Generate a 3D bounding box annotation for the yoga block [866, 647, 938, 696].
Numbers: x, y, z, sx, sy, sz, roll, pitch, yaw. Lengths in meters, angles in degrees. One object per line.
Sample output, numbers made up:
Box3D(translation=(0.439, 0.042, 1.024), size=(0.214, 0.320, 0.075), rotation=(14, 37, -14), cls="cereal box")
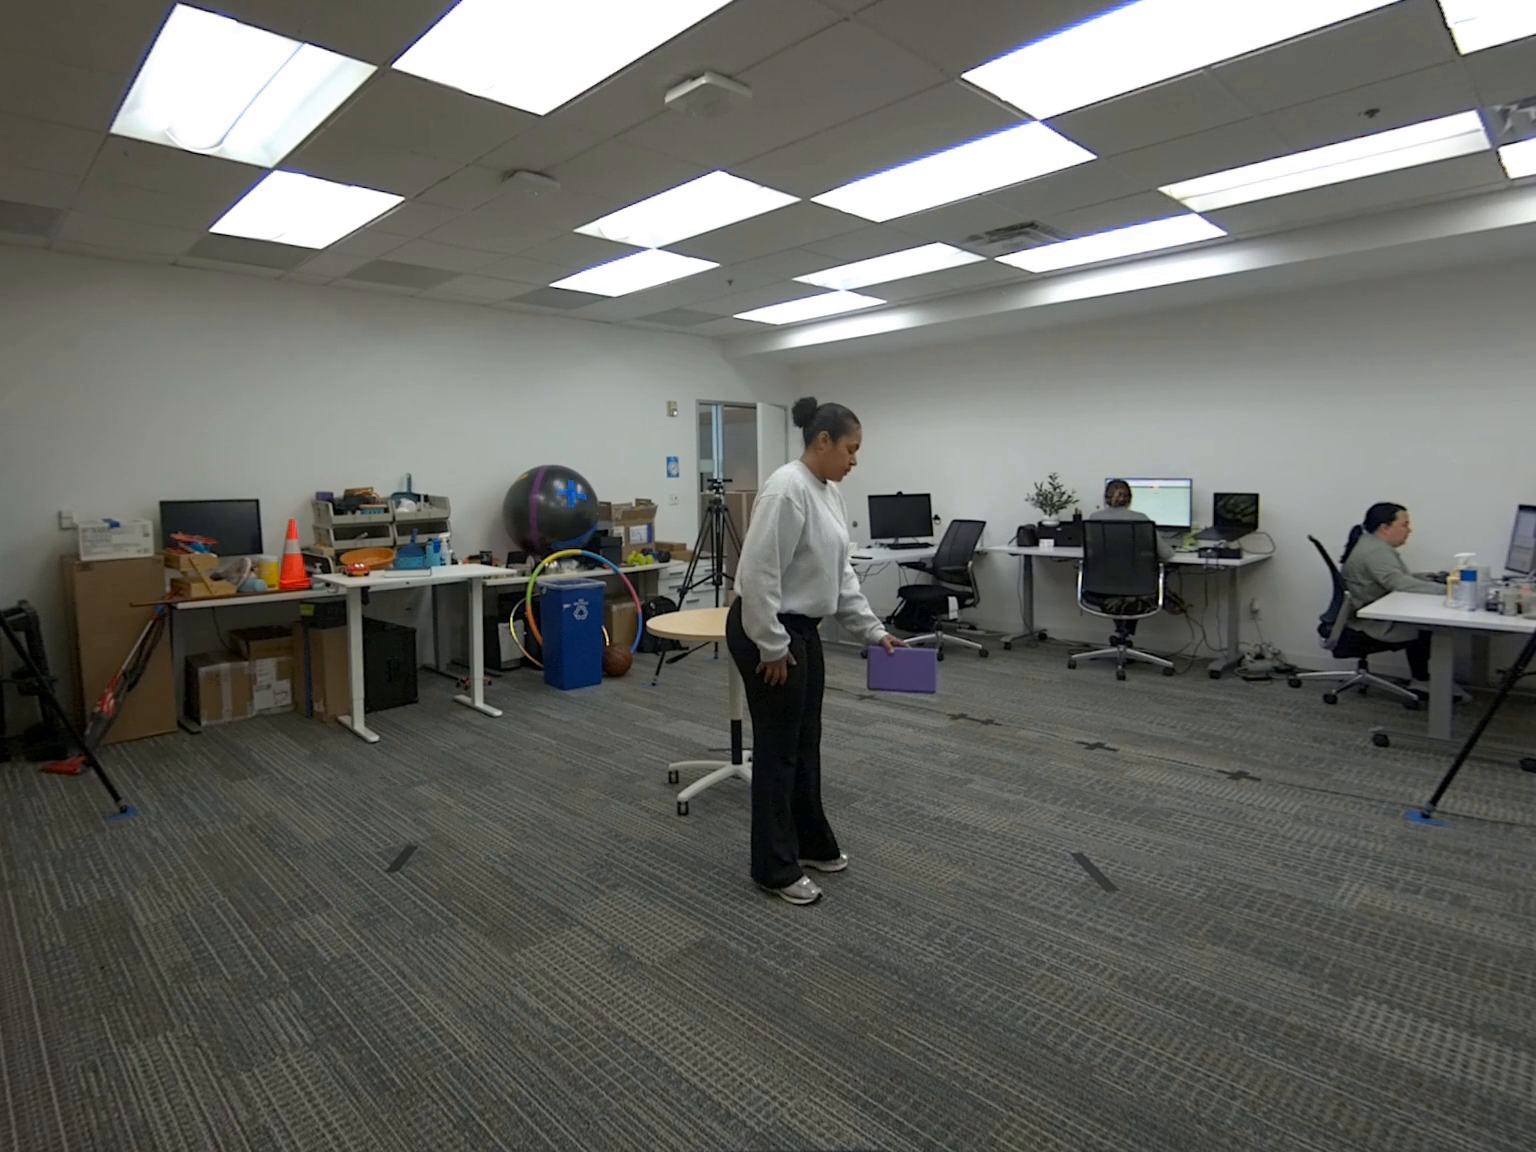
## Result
Box3D(translation=(0.448, 0.325, 2.906), size=(0.231, 0.150, 0.075), rotation=(2, -11, 7), cls="yoga block")
